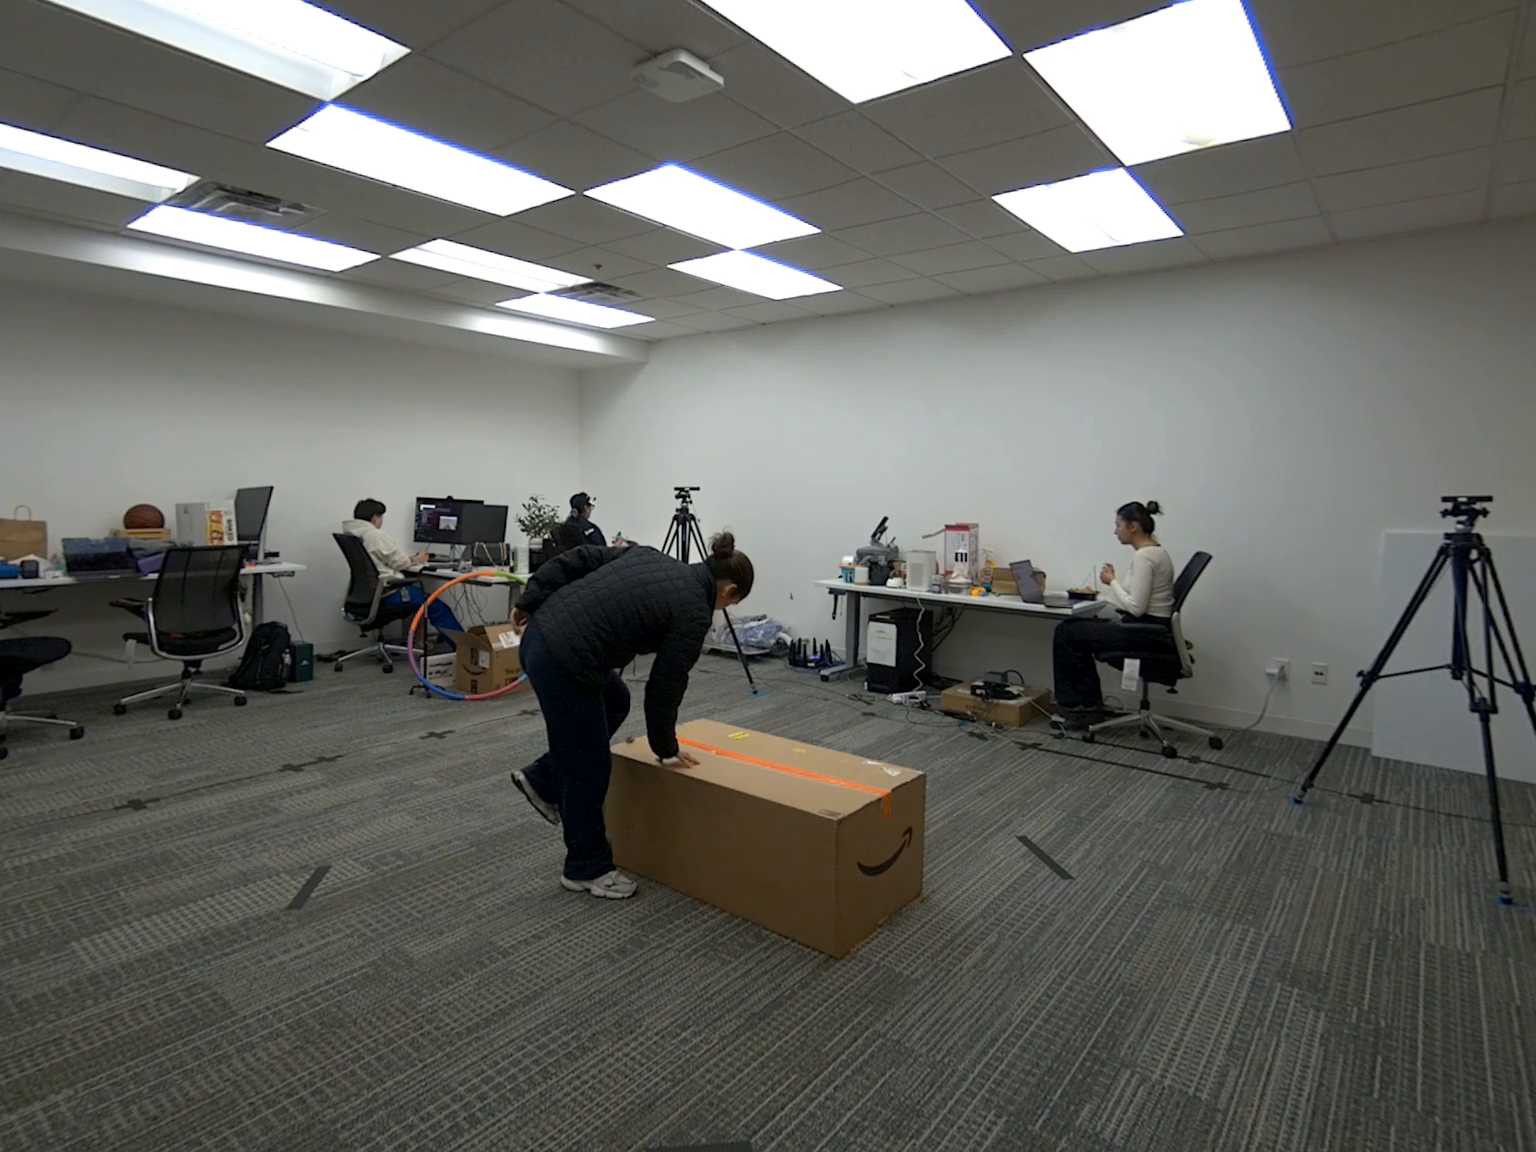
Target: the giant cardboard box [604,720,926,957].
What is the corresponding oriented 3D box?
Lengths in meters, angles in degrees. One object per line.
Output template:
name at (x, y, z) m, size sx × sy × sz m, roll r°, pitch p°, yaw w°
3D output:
giant cardboard box at (-0.021, 0.866, 3.058) m, size 1.062 × 0.444 × 0.567 m, roll 6°, pitch 8°, yaw 39°
